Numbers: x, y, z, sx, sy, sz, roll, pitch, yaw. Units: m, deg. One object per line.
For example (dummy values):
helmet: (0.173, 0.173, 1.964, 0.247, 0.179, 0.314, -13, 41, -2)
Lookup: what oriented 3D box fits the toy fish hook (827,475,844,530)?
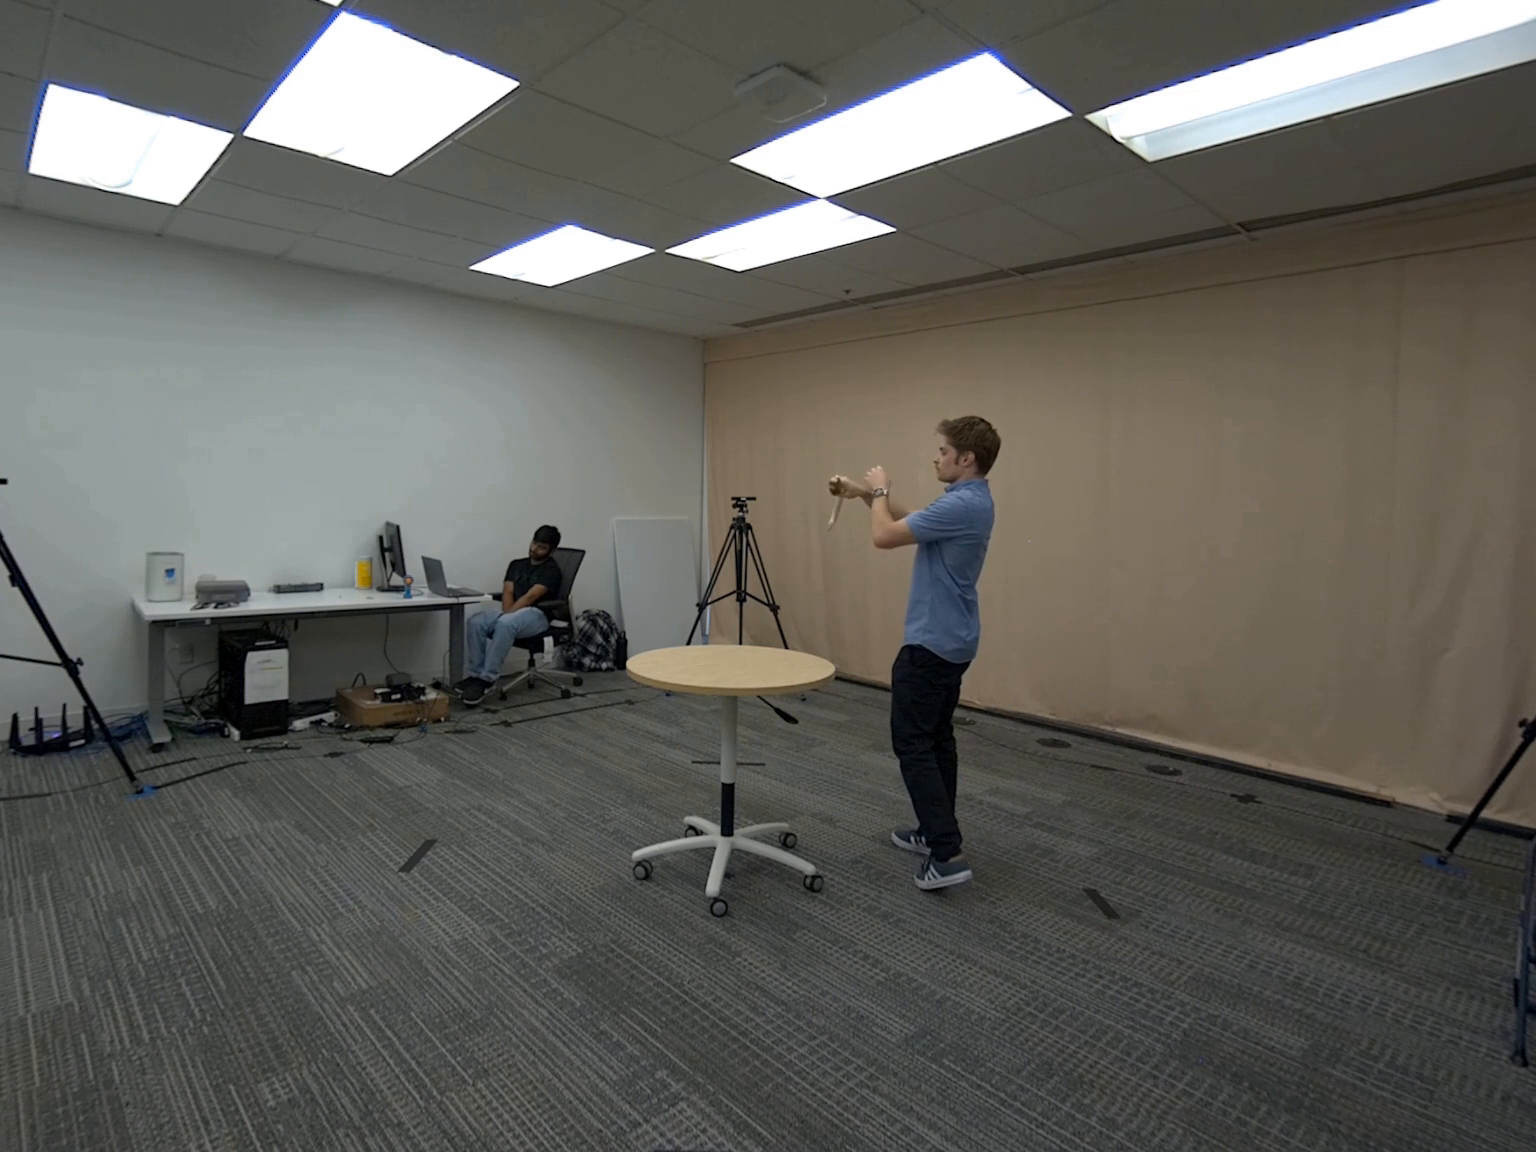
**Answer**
toy fish hook: (0.275, -0.294, 3.395, 0.049, 0.225, 0.502, 8, 0, 8)
